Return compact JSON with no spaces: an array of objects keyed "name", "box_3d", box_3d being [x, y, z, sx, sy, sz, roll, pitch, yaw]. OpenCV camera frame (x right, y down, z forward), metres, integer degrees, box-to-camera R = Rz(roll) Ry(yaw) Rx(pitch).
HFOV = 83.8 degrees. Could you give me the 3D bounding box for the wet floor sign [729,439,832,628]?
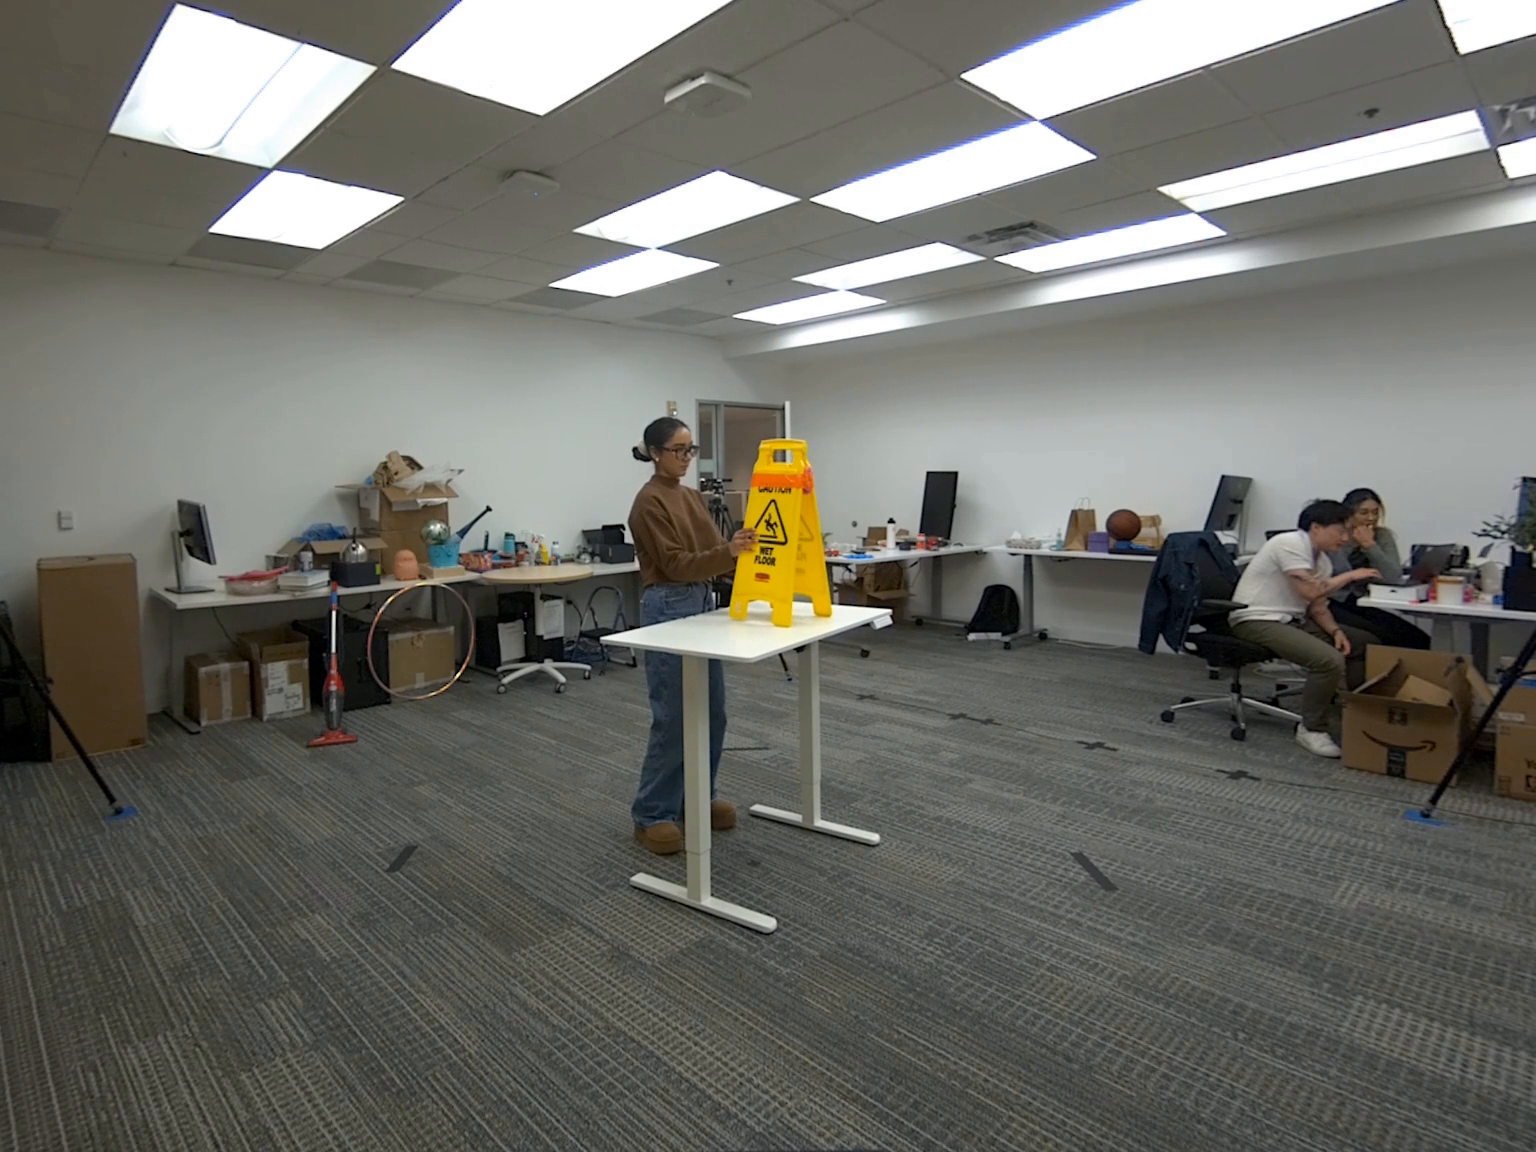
[{"name":"wet floor sign","box_3d":[0.054,-0.169,3.114,0.291,0.643,0.282,6,7,39]}]
